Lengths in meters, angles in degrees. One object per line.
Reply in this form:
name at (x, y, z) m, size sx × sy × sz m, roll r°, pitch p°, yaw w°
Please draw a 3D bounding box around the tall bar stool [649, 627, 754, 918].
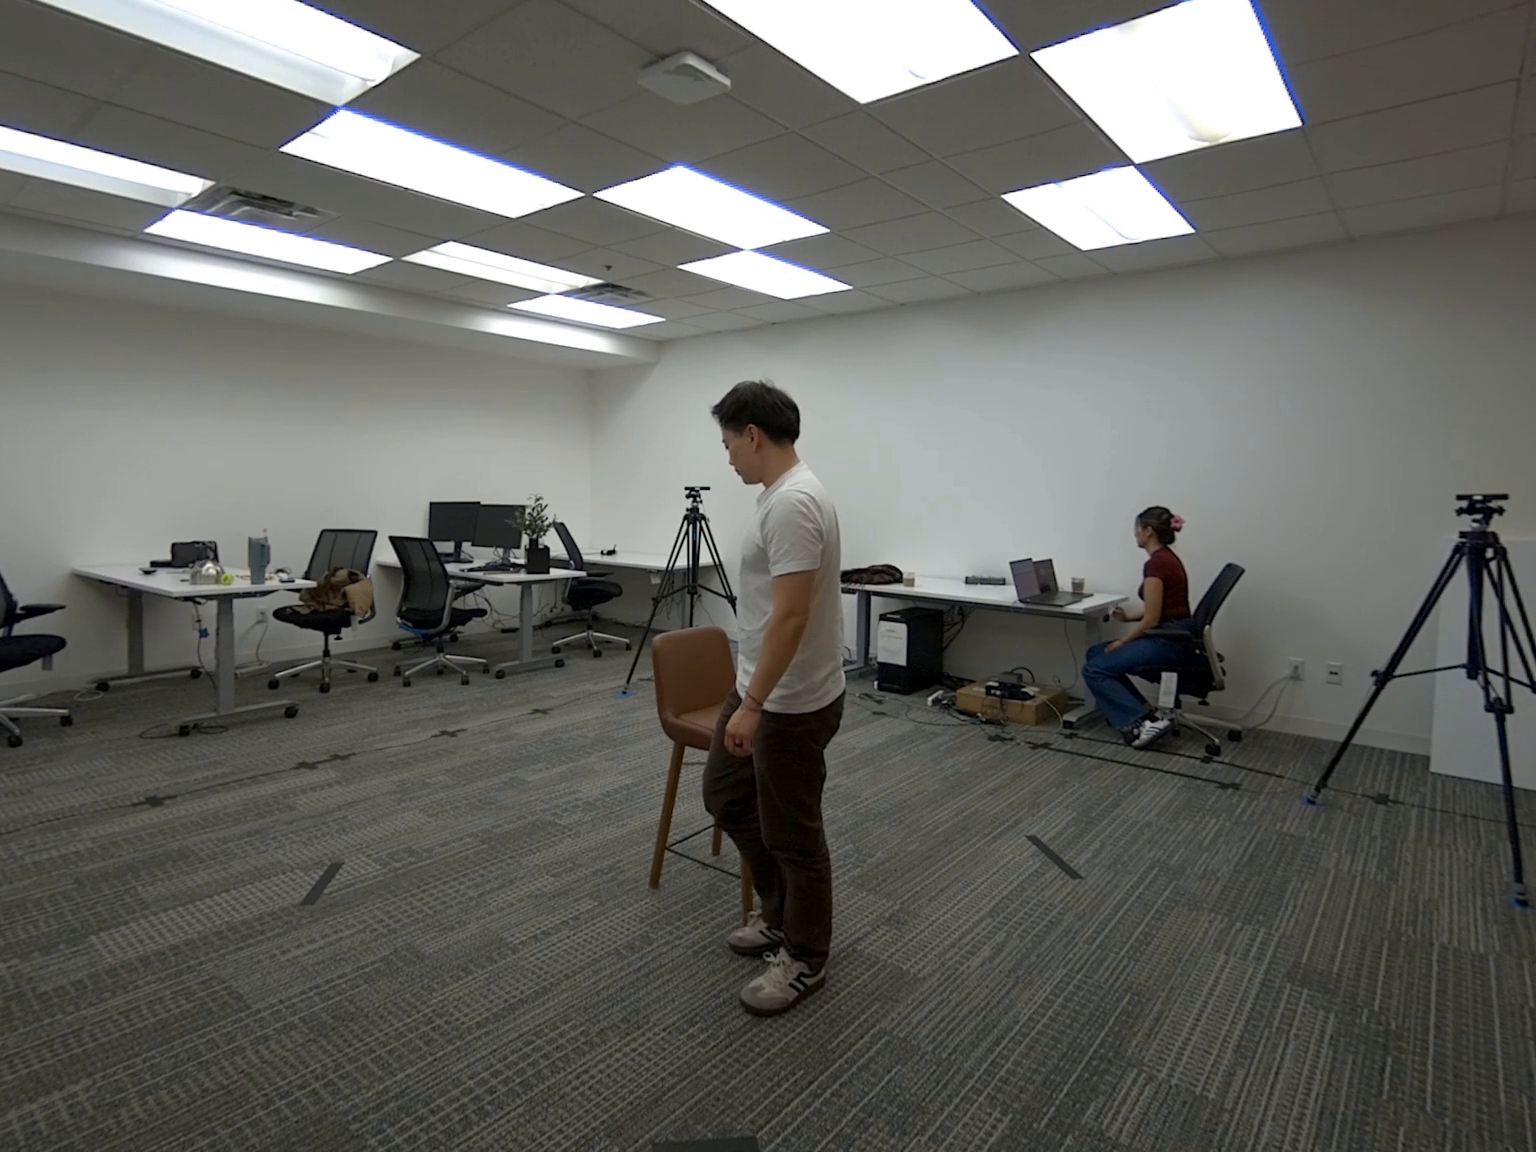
tall bar stool at (-0.129, 0.647, 2.939) m, size 0.482 × 0.888 × 0.443 m, roll 1°, pitch 2°, yaw 37°
